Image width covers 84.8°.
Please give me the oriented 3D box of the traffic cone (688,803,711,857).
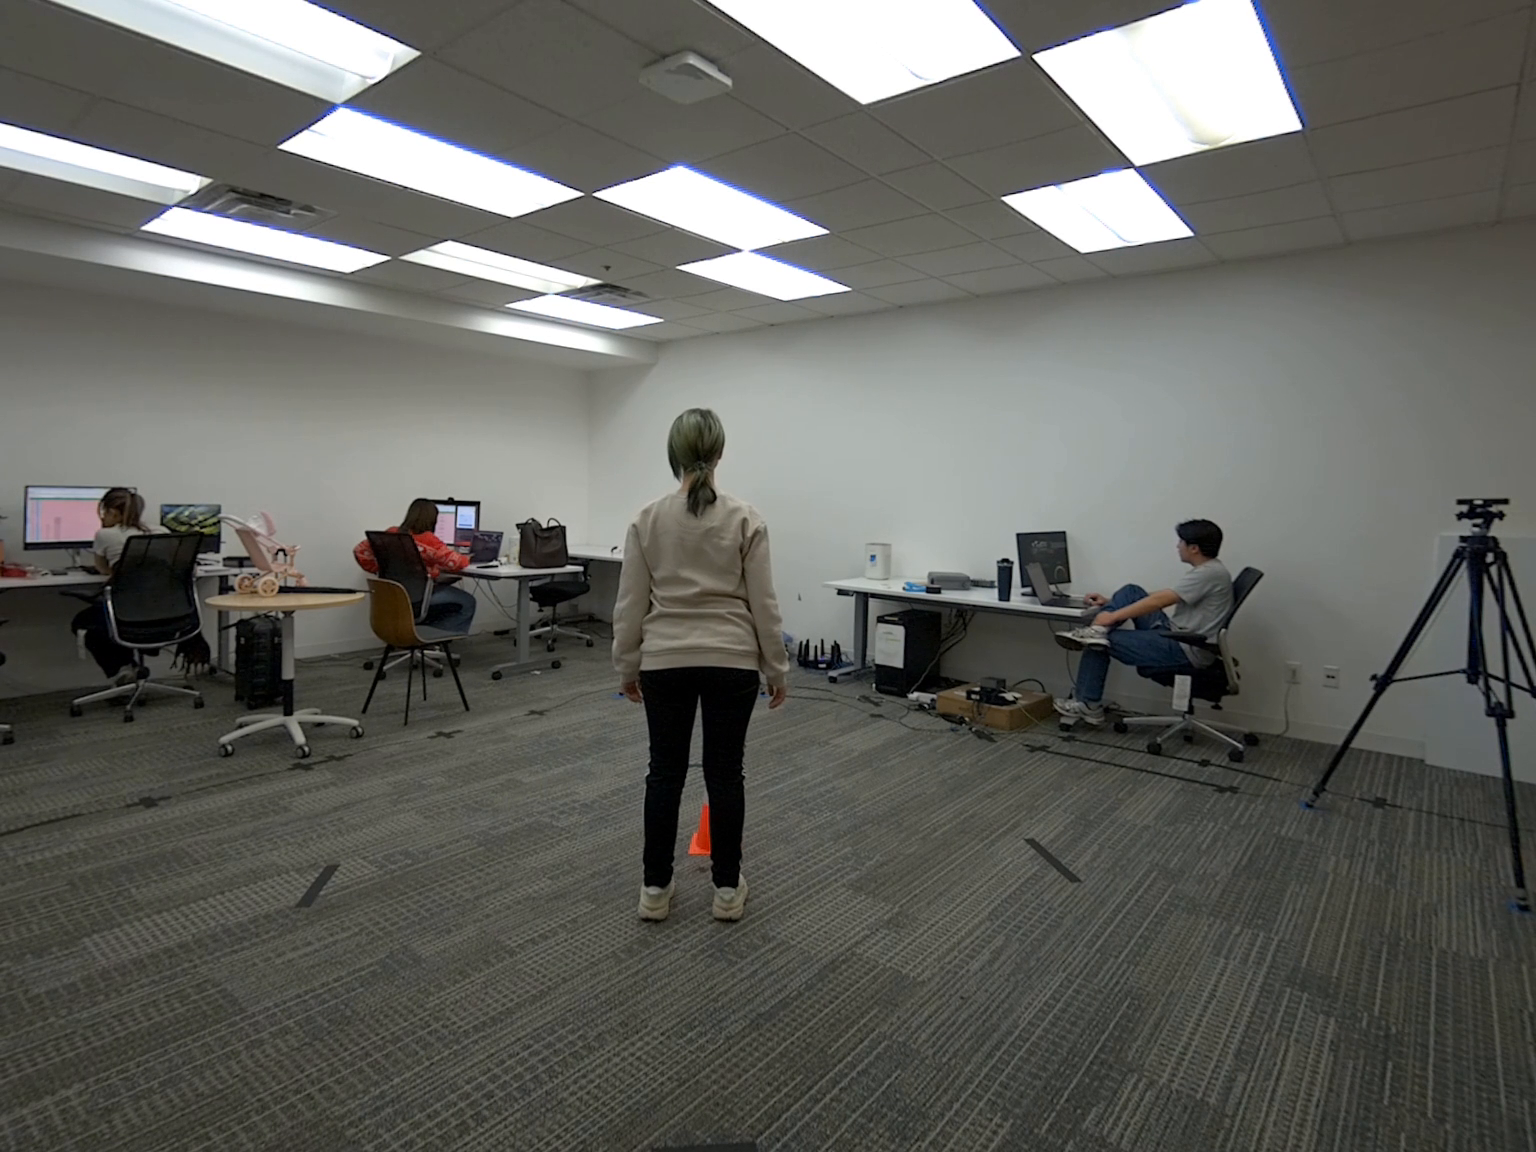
[{"bbox_3d":[-0.207,0.861,3.323,0.206,0.383,0.203,2,3,4],"label":"traffic cone"}]
